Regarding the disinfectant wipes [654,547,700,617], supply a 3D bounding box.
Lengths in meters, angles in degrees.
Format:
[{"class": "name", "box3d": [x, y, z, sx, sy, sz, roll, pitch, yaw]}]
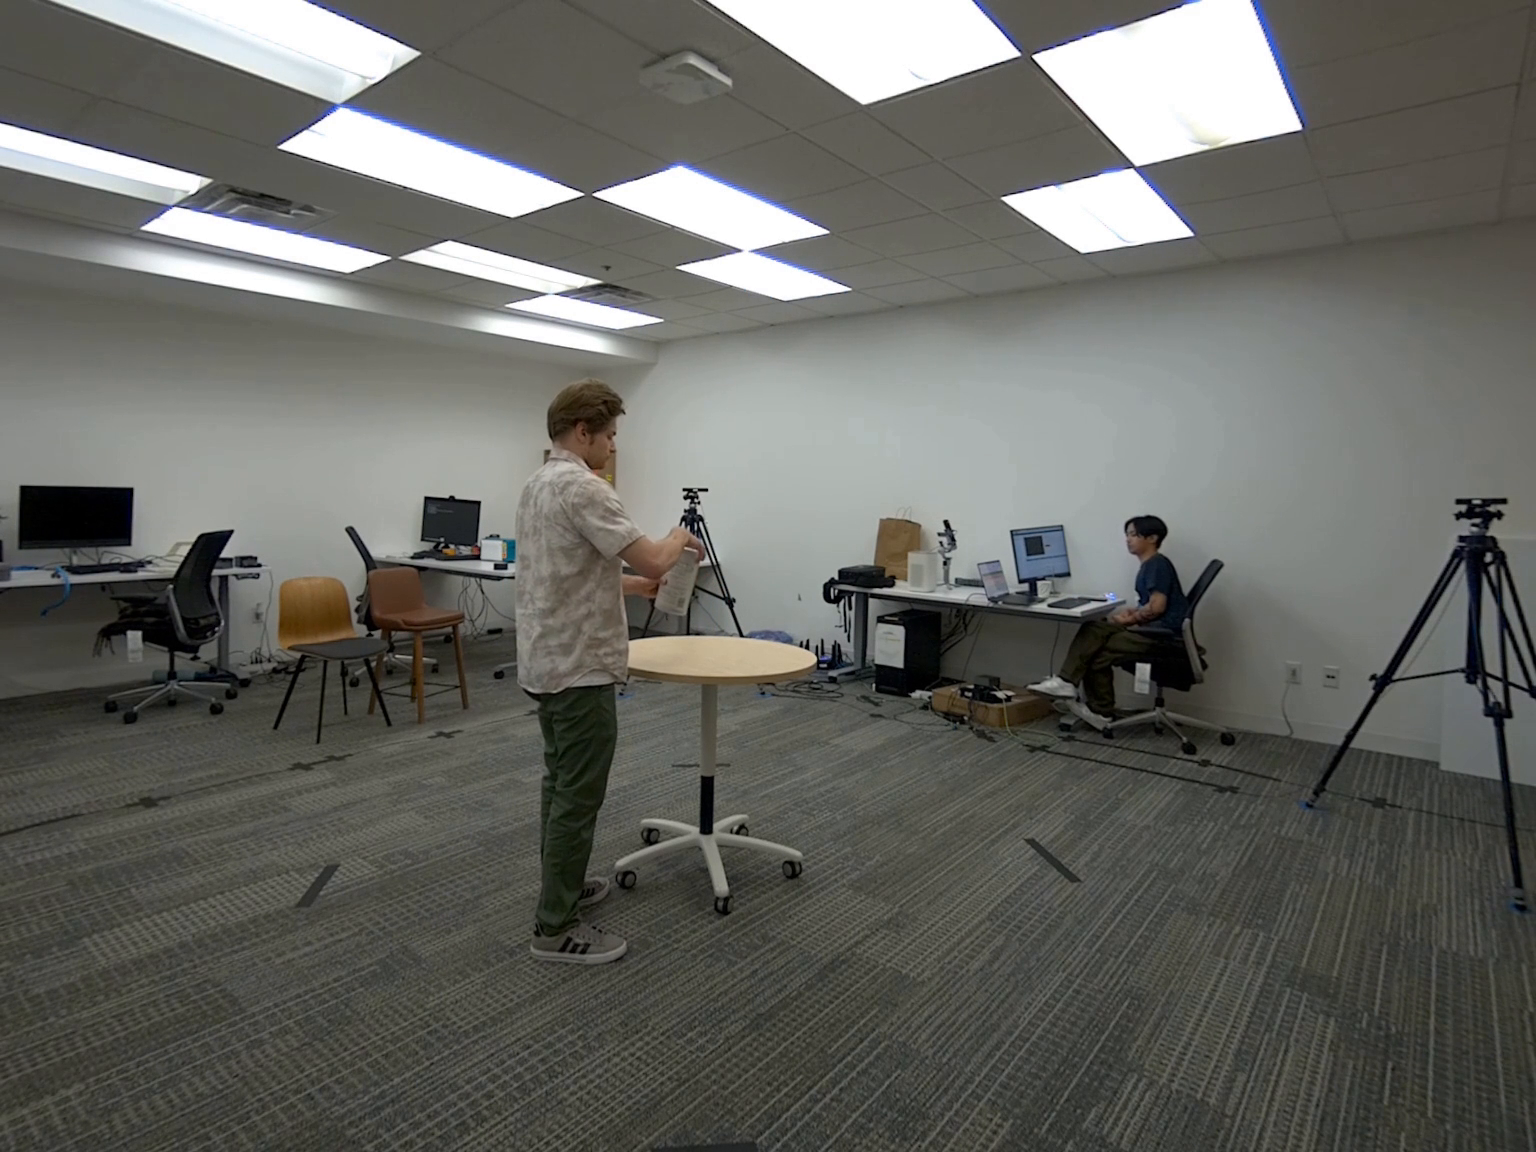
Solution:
[{"class": "disinfectant wipes", "box3d": [-0.303, 0.017, 2.789, 0.117, 0.217, 0.118, 12, 2, -2]}]
